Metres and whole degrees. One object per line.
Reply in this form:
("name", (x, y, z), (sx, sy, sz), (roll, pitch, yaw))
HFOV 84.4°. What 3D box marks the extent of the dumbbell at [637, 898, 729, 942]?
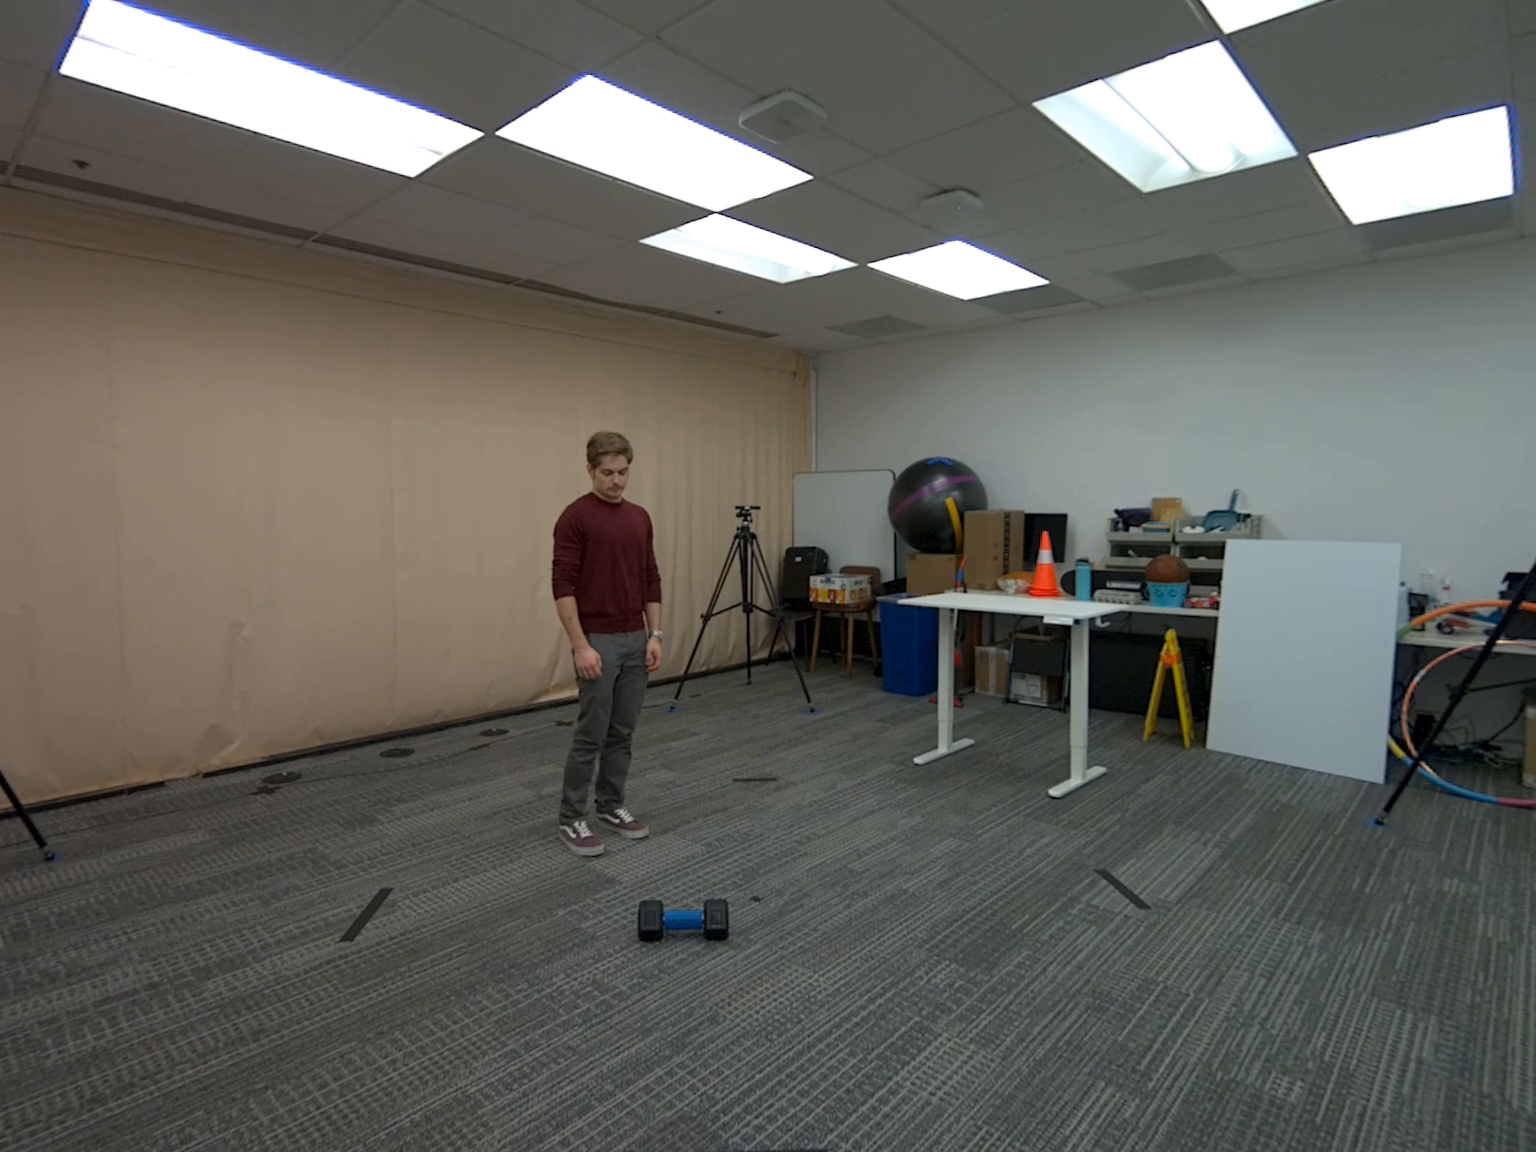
("dumbbell", (-0.273, 1.116, 2.721), (0.293, 0.125, 0.107), (0, -26, -1))
